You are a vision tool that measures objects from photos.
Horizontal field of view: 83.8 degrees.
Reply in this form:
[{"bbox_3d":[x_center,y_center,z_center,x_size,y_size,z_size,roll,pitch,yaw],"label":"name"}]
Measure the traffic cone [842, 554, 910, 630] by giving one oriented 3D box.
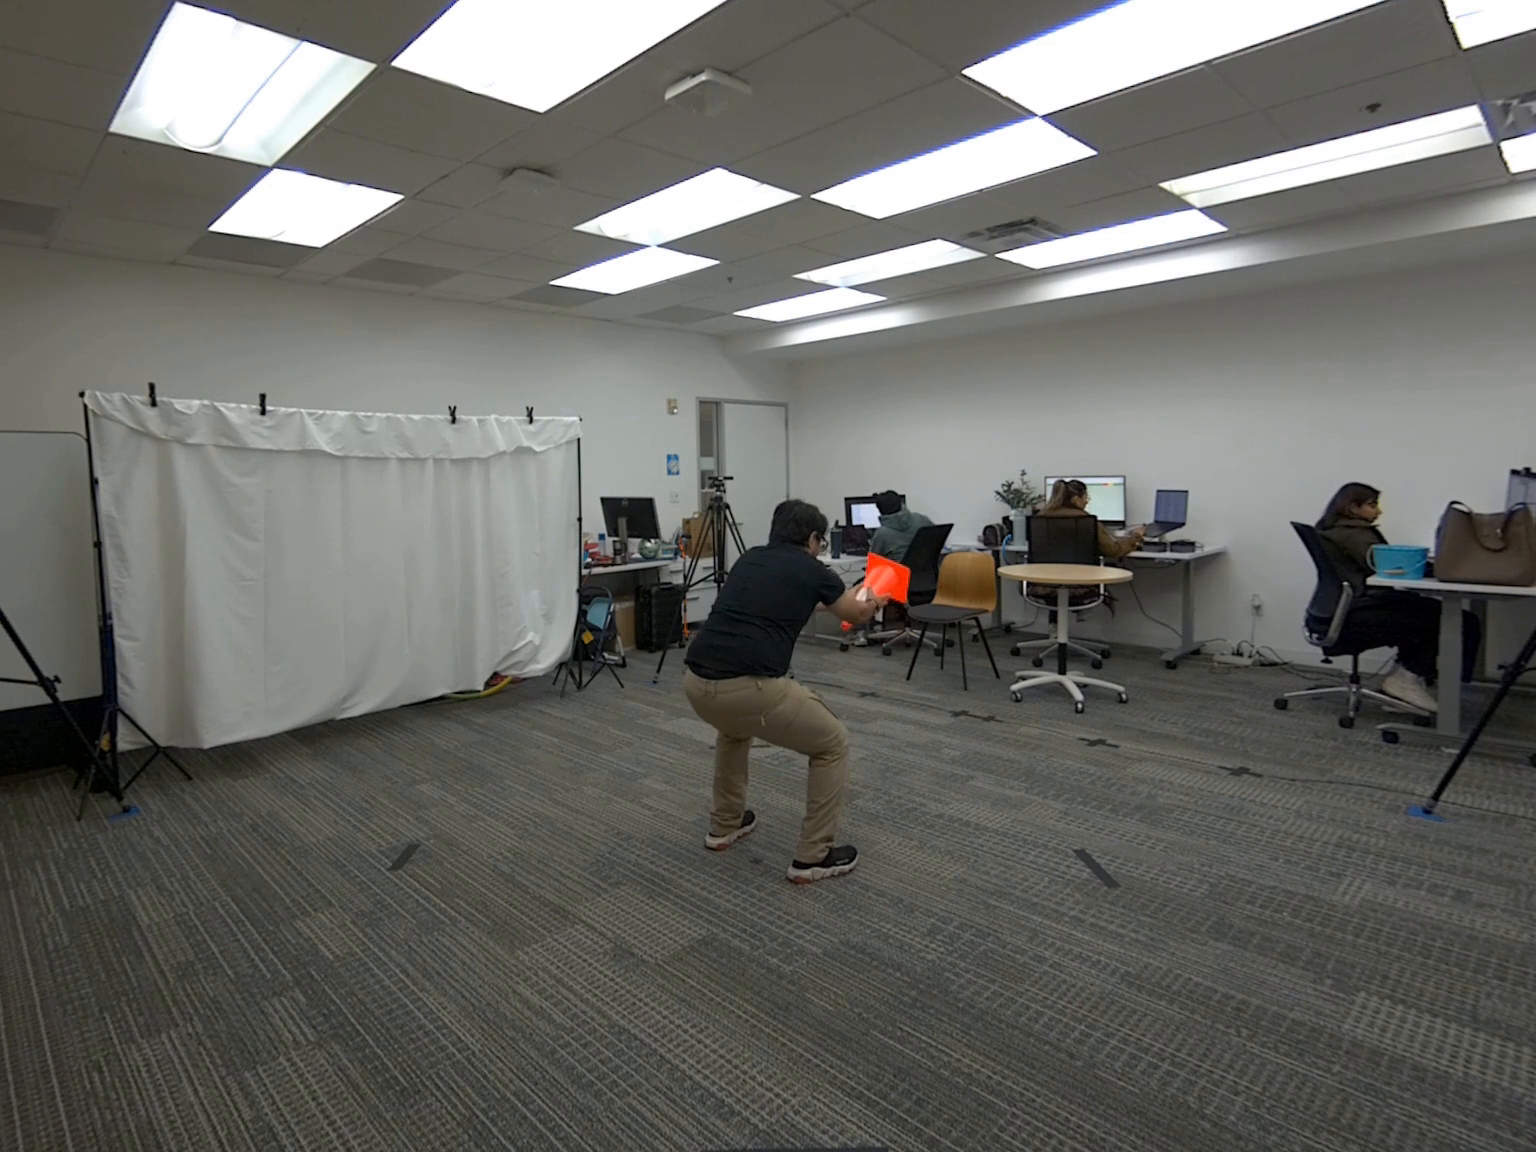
[{"bbox_3d":[0.413,0.103,3.572,0.211,0.198,0.381,24,43,26],"label":"traffic cone"}]
